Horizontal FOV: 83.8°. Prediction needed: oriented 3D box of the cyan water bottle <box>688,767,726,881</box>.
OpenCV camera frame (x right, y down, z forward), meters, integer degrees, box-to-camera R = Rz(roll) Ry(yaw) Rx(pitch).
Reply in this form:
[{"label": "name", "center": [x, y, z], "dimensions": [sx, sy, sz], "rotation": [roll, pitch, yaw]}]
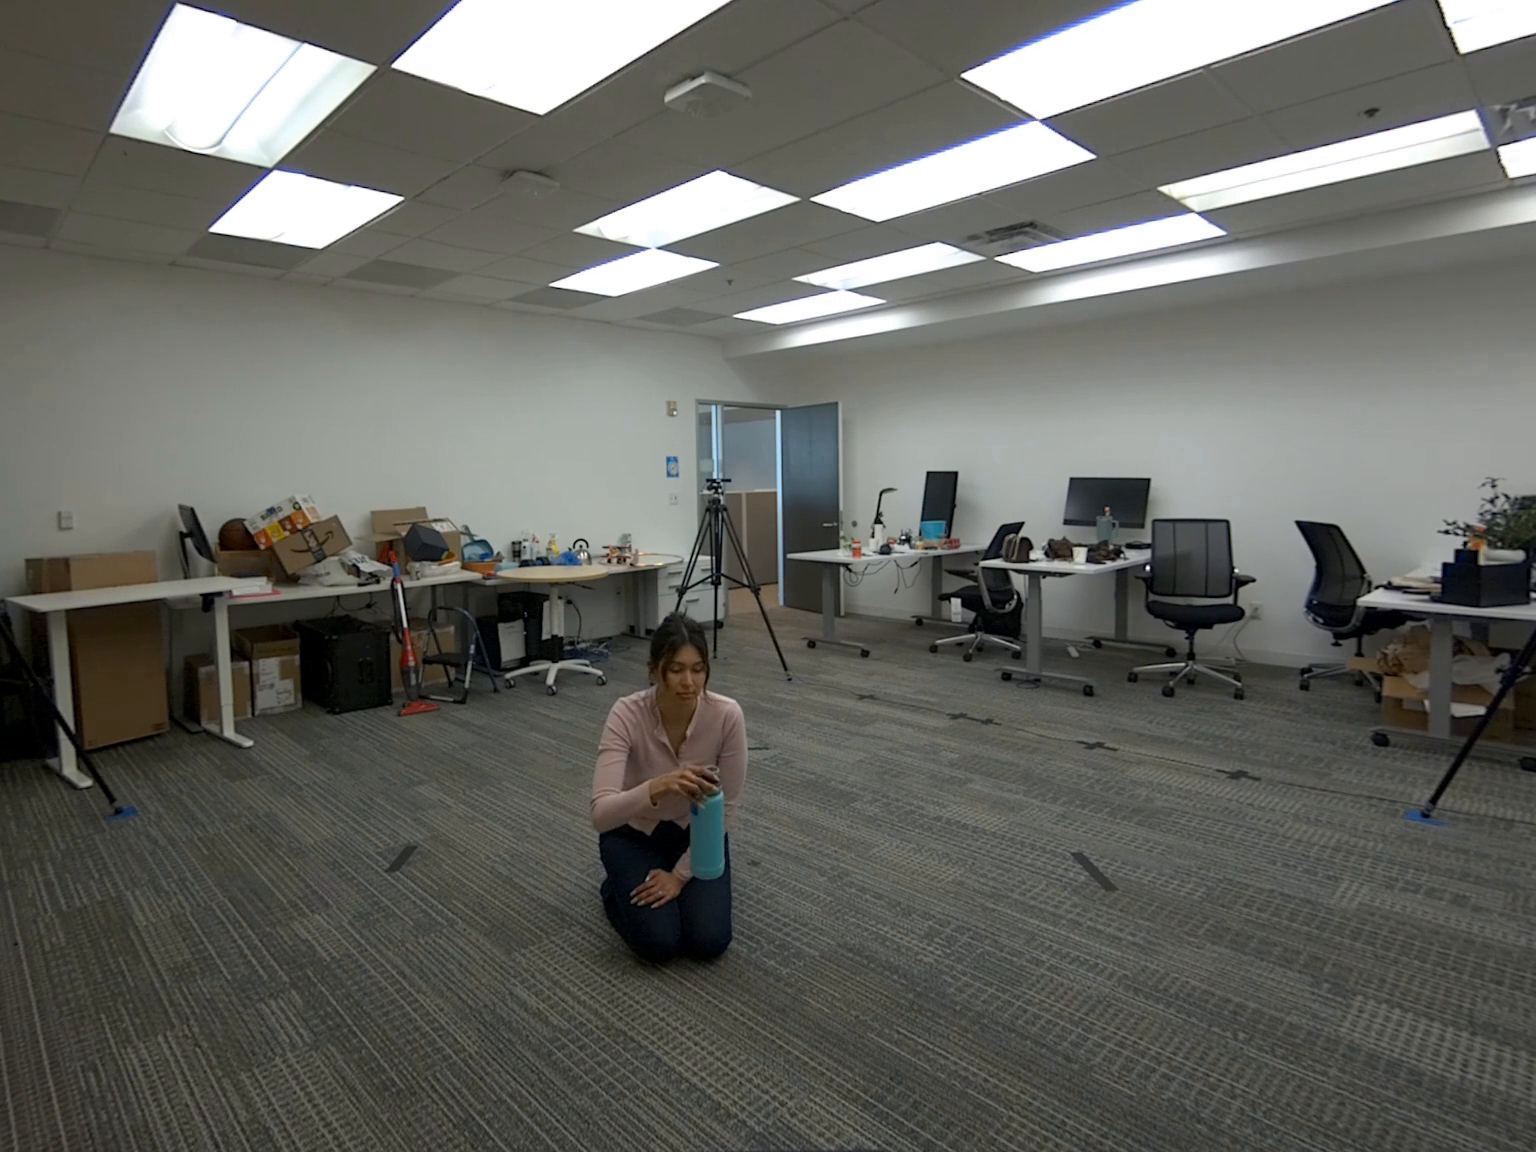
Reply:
[{"label": "cyan water bottle", "center": [-0.176, 0.636, 2.222], "dimensions": [0.092, 0.280, 0.093], "rotation": [-1, 11, -1]}]
